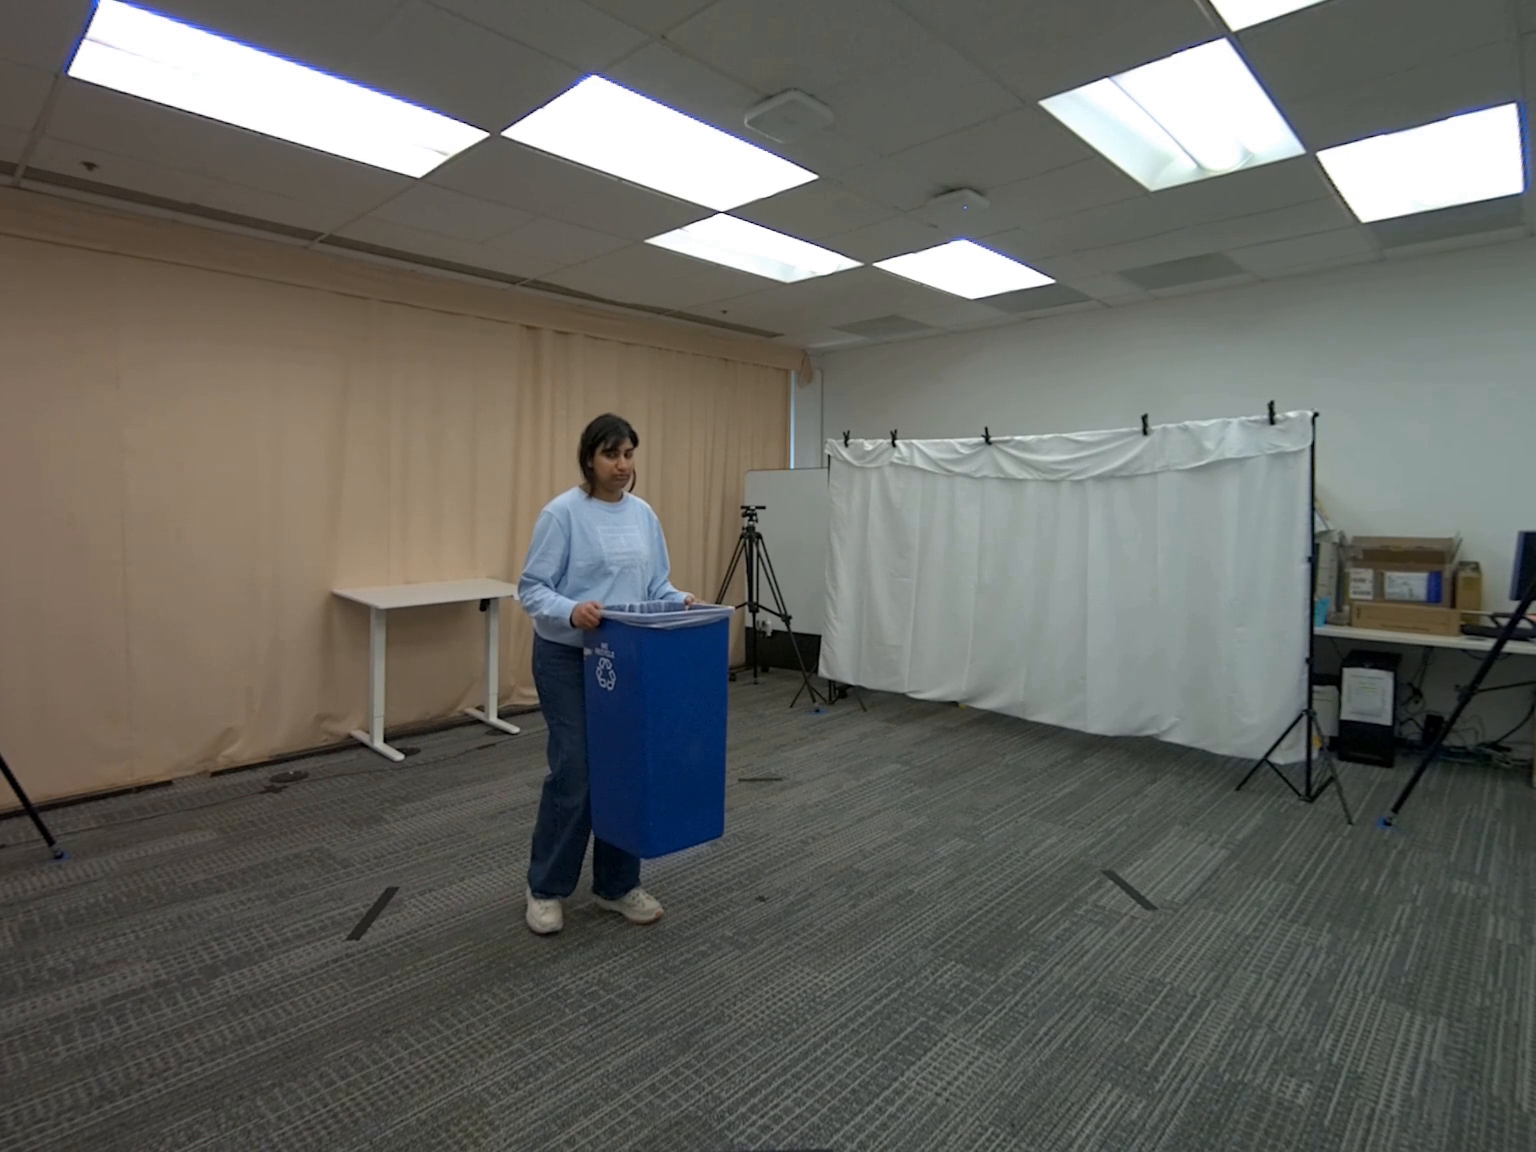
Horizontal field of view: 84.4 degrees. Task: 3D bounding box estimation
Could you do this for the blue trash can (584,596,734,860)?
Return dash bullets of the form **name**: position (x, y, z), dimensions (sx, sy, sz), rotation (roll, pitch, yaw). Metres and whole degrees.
- **blue trash can**: position (-0.339, 0.460, 2.603), dimensions (0.366, 0.713, 0.386), rotation (-2, 1, -43)
